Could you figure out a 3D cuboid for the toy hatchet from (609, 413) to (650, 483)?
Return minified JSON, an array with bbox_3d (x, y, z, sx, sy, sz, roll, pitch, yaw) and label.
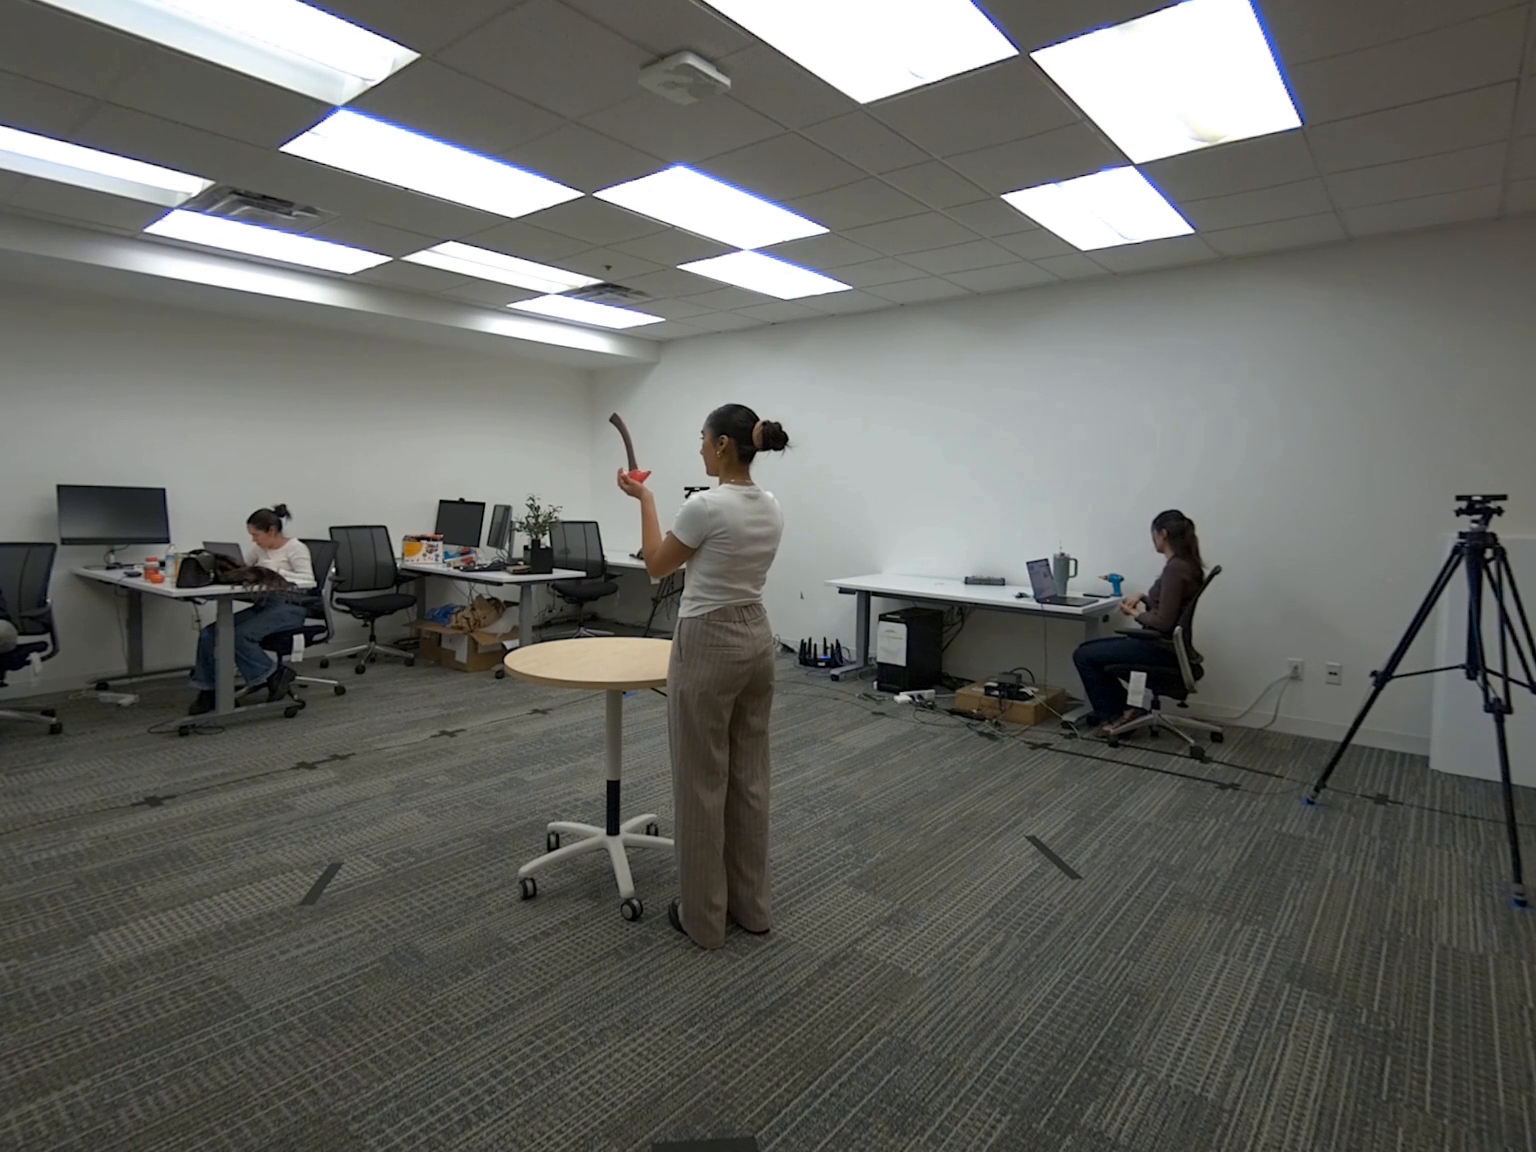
[{"bbox_3d":[-0.487,-0.408,2.819,0.132,0.277,0.028,-38,-22,23],"label":"toy hatchet"}]
